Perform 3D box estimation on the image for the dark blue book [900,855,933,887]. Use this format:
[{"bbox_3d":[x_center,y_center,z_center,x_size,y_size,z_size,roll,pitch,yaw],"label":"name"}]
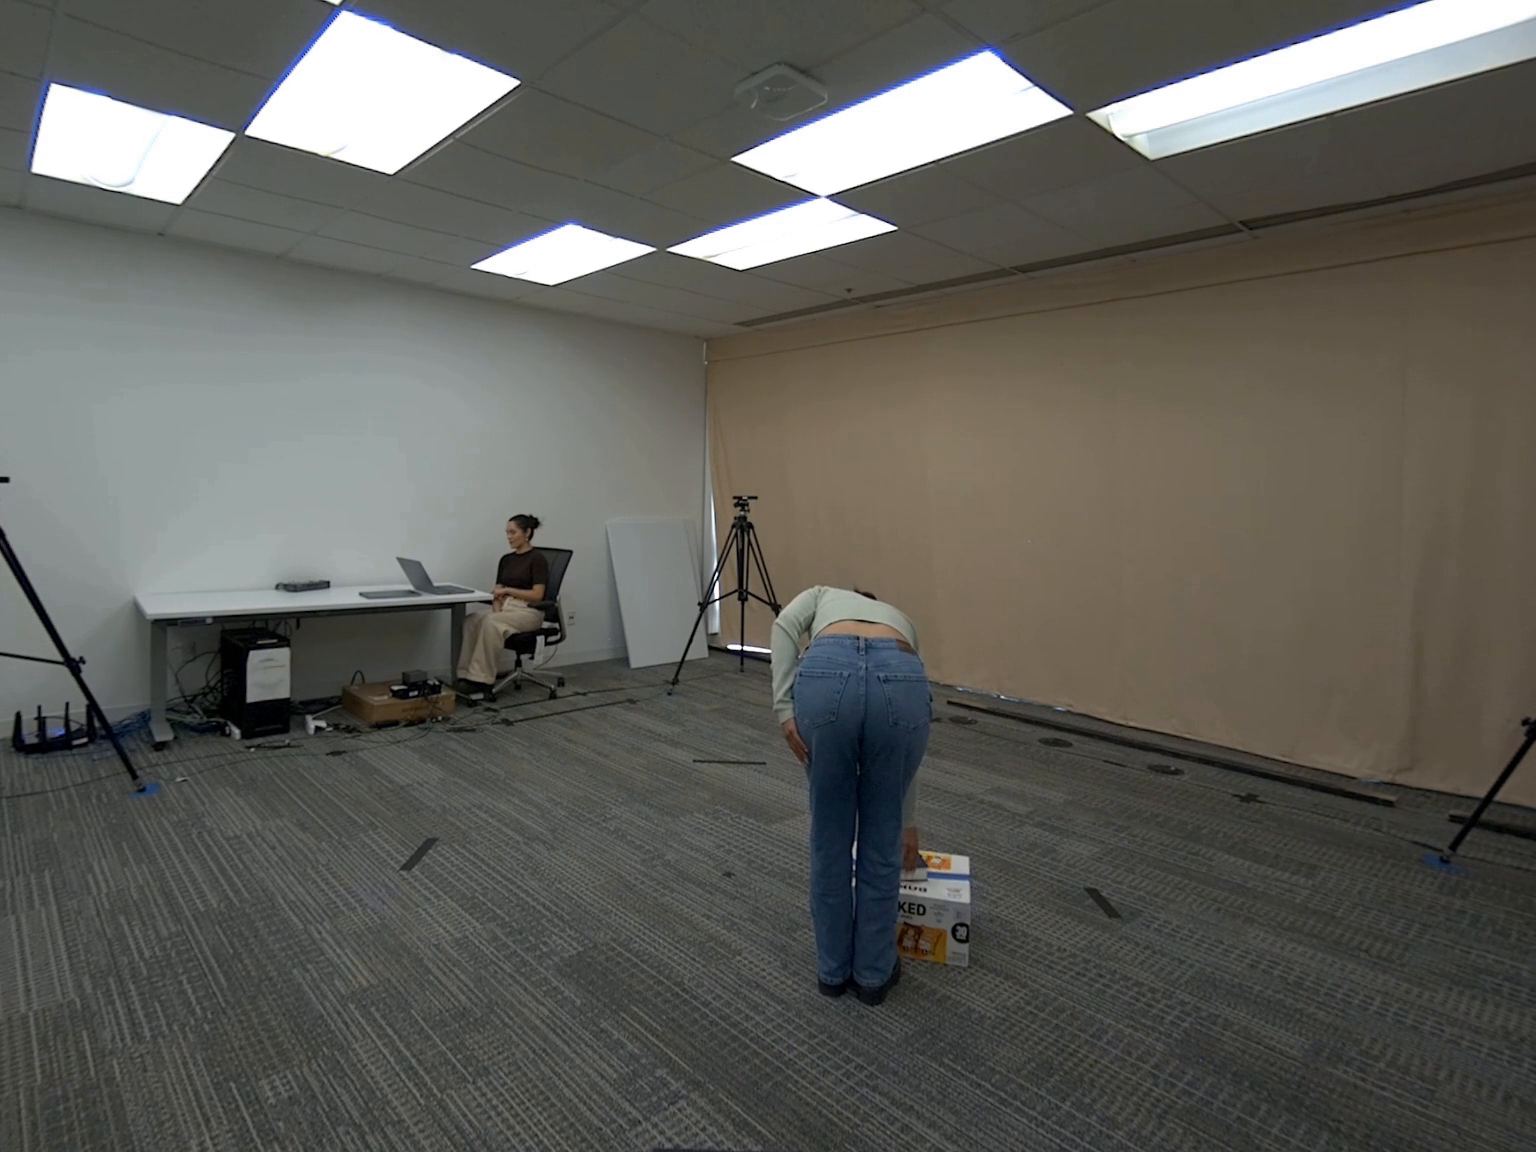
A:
[{"bbox_3d":[0.414,0.935,2.768,0.162,0.045,0.247,2,6,-8],"label":"dark blue book"}]
